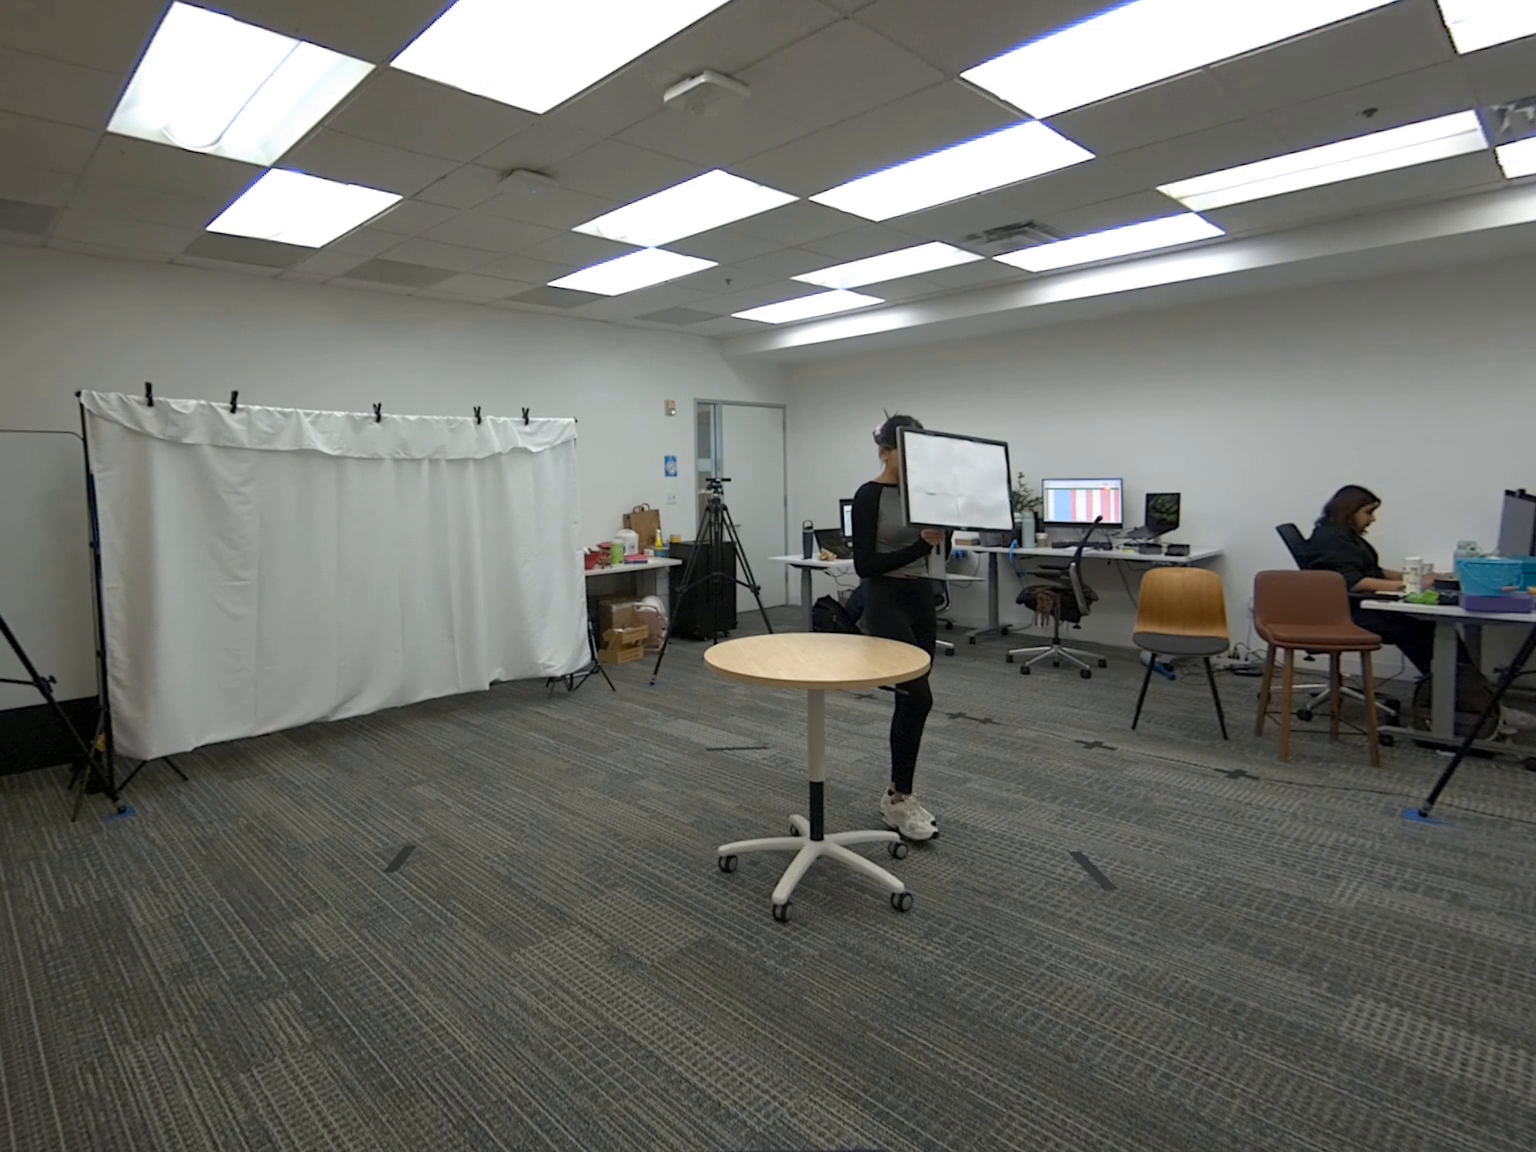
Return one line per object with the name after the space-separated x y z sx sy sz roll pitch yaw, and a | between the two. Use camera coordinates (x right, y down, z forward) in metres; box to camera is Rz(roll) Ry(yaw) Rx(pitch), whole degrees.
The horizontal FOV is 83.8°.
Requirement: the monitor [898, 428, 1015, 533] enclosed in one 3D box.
0.682 -0.259 3.195 0.524 0.522 0.192 1 3 -34 | monitor
